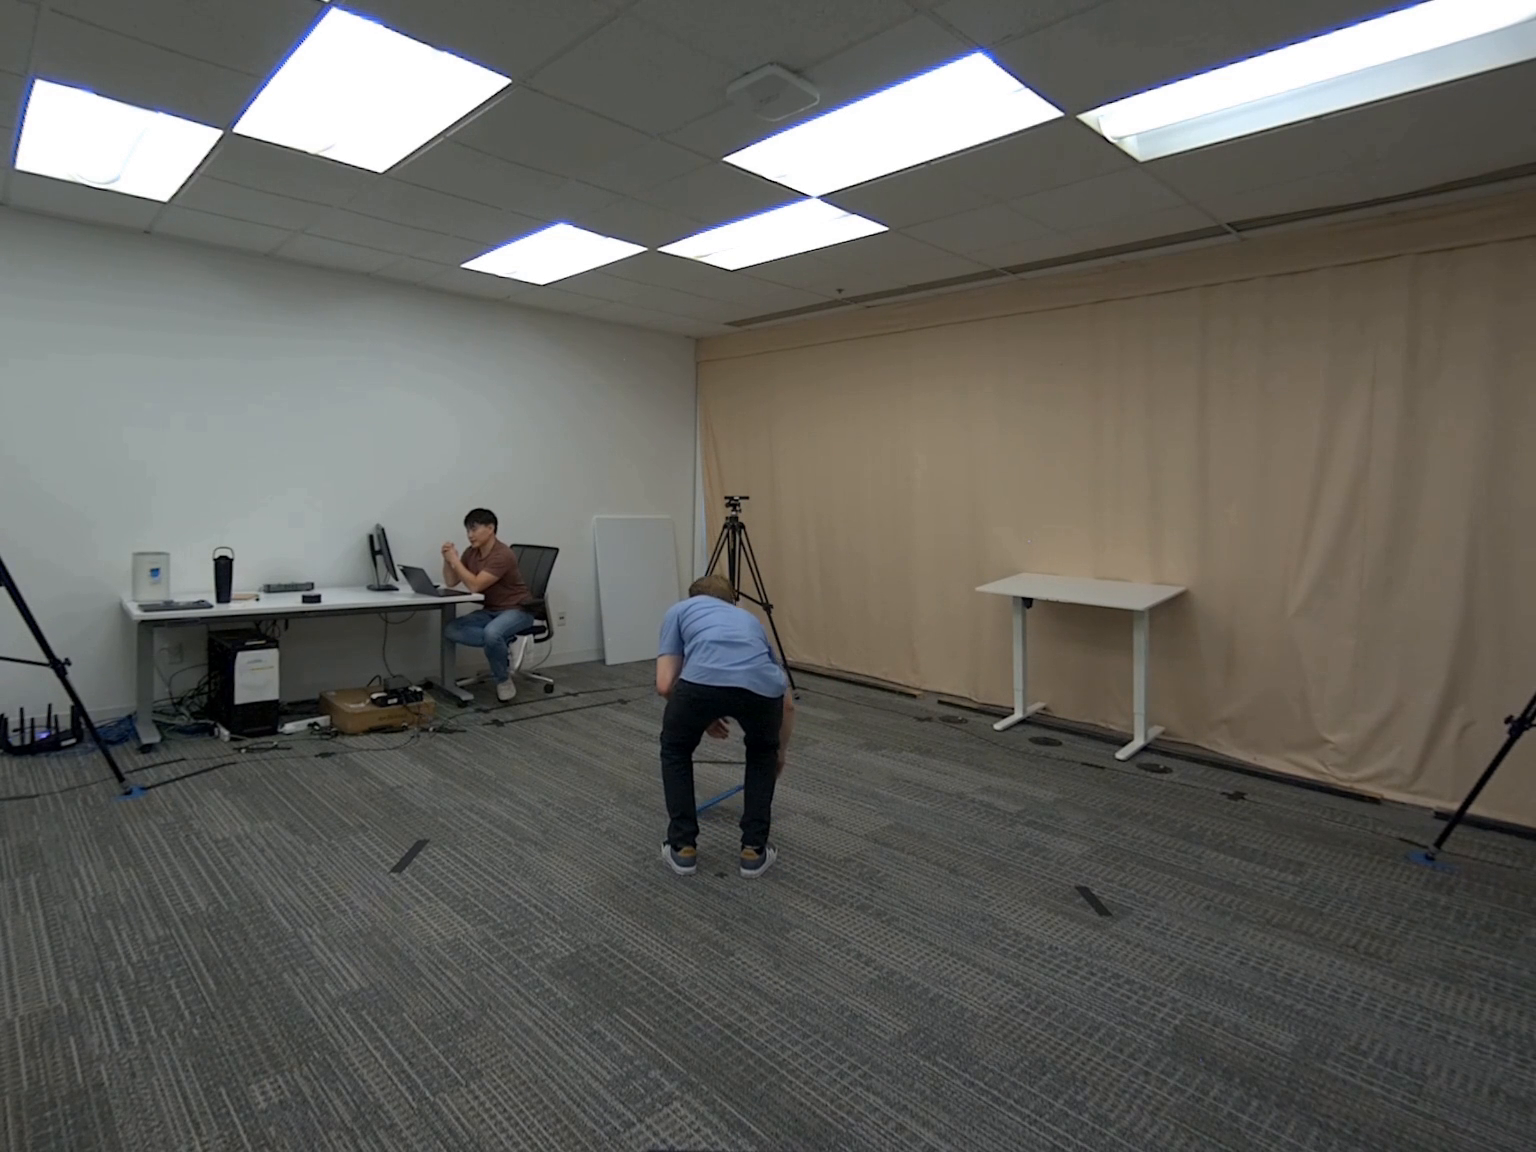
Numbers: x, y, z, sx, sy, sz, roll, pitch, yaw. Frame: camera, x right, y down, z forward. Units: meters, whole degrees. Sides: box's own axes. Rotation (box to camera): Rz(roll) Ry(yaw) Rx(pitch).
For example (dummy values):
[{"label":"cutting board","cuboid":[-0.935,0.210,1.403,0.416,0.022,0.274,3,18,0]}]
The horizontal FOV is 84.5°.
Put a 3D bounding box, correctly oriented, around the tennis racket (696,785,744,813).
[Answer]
[{"label":"tennis racket","cuboid":[-0.165,0.942,3.660,0.436,0.032,0.210,-29,-6,24]}]
